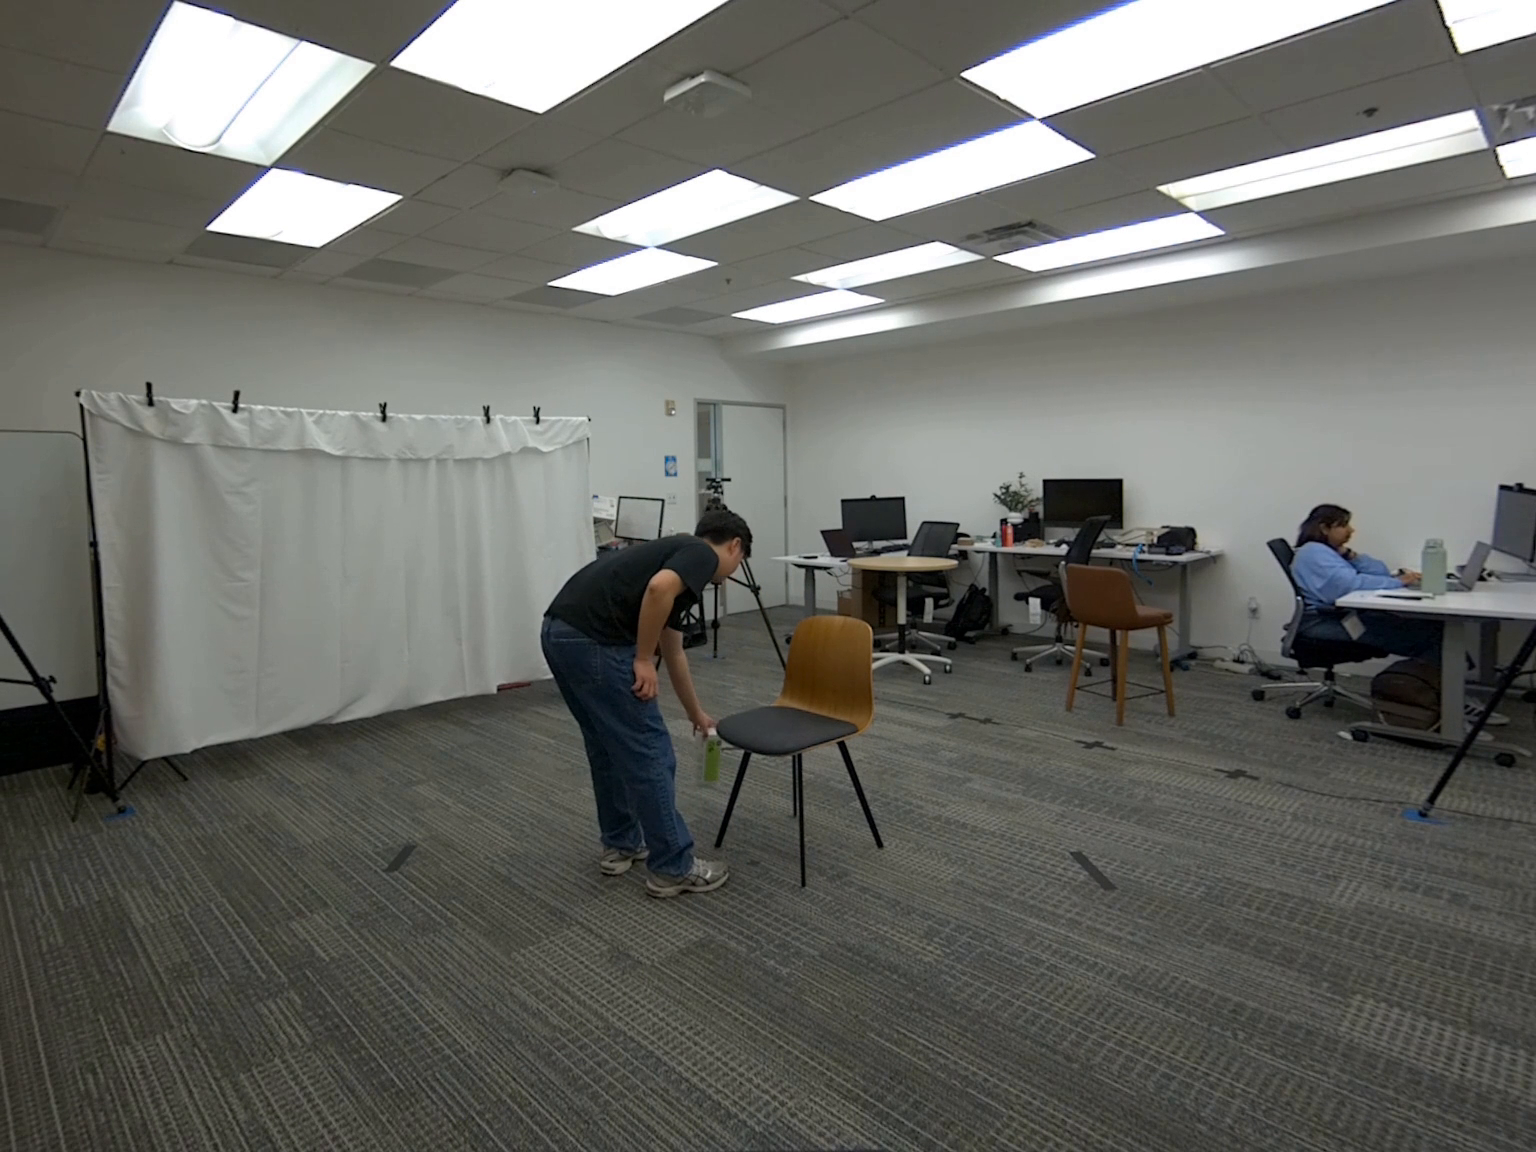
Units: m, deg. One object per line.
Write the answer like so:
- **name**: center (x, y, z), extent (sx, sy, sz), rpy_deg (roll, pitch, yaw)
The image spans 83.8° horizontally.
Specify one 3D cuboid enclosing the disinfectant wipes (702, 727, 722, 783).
- **disinfectant wipes**: center (-0.221, 0.717, 3.415), extent (0.118, 0.216, 0.118), rpy_deg (2, 4, -2)
